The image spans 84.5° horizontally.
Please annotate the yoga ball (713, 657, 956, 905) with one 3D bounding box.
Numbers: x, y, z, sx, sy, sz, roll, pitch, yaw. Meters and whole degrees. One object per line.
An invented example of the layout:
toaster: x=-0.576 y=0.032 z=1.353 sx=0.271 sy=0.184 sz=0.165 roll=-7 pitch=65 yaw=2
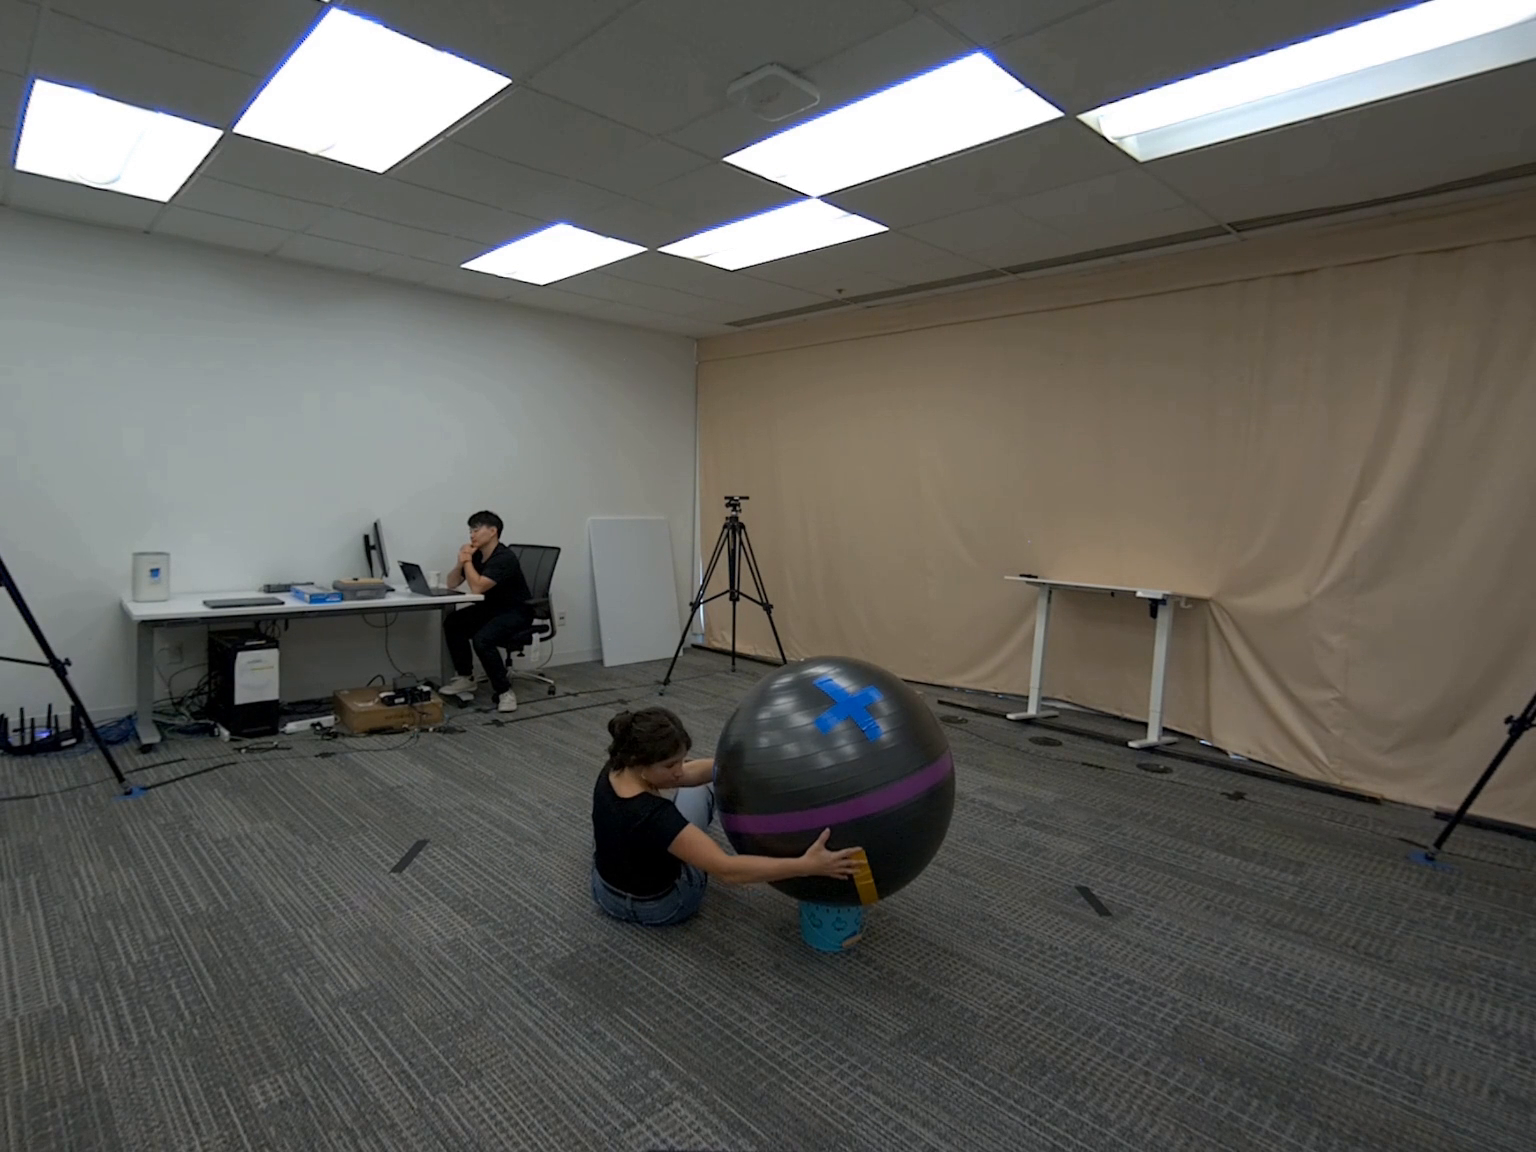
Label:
yoga ball: x=0.197 y=0.641 z=2.652 sx=0.757 sy=0.756 sz=0.761 roll=1 pitch=4 yaw=-1
